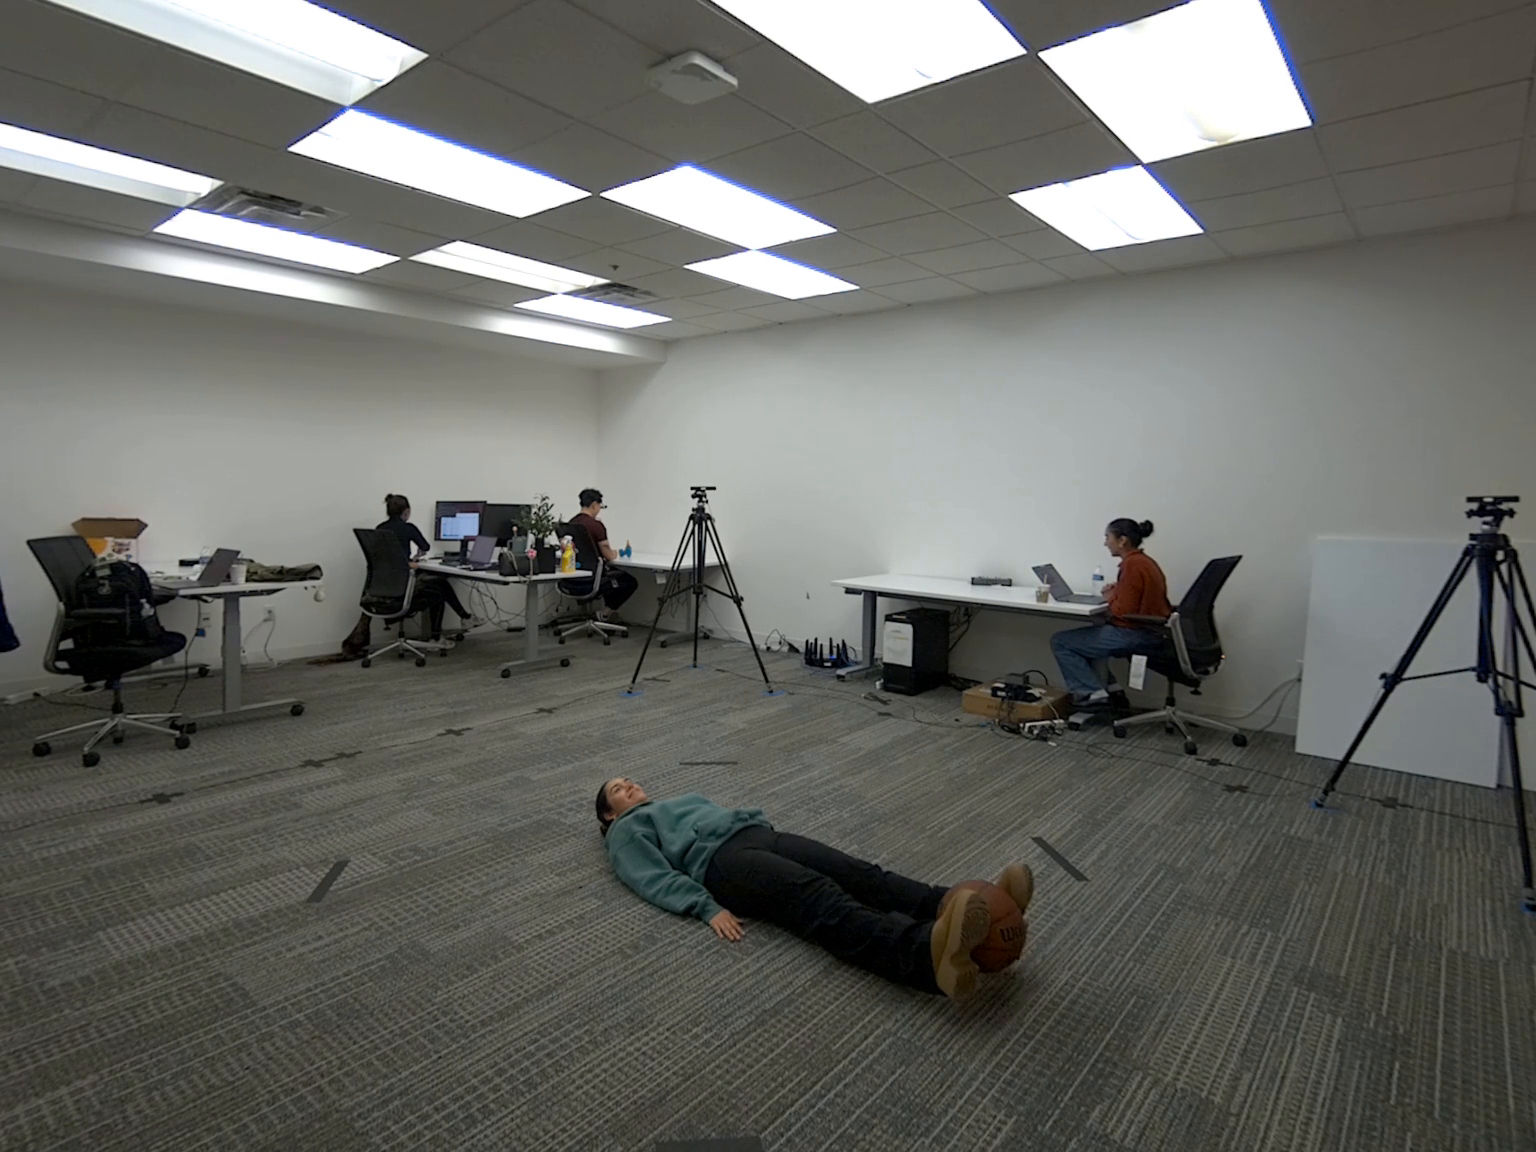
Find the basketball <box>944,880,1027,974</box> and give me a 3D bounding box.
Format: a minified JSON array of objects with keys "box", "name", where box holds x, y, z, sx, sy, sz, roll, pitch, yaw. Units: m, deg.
[{"box":[0.587,0.963,2.371,0.236,0.235,0.237,0,4,-2],"name":"basketball"}]
